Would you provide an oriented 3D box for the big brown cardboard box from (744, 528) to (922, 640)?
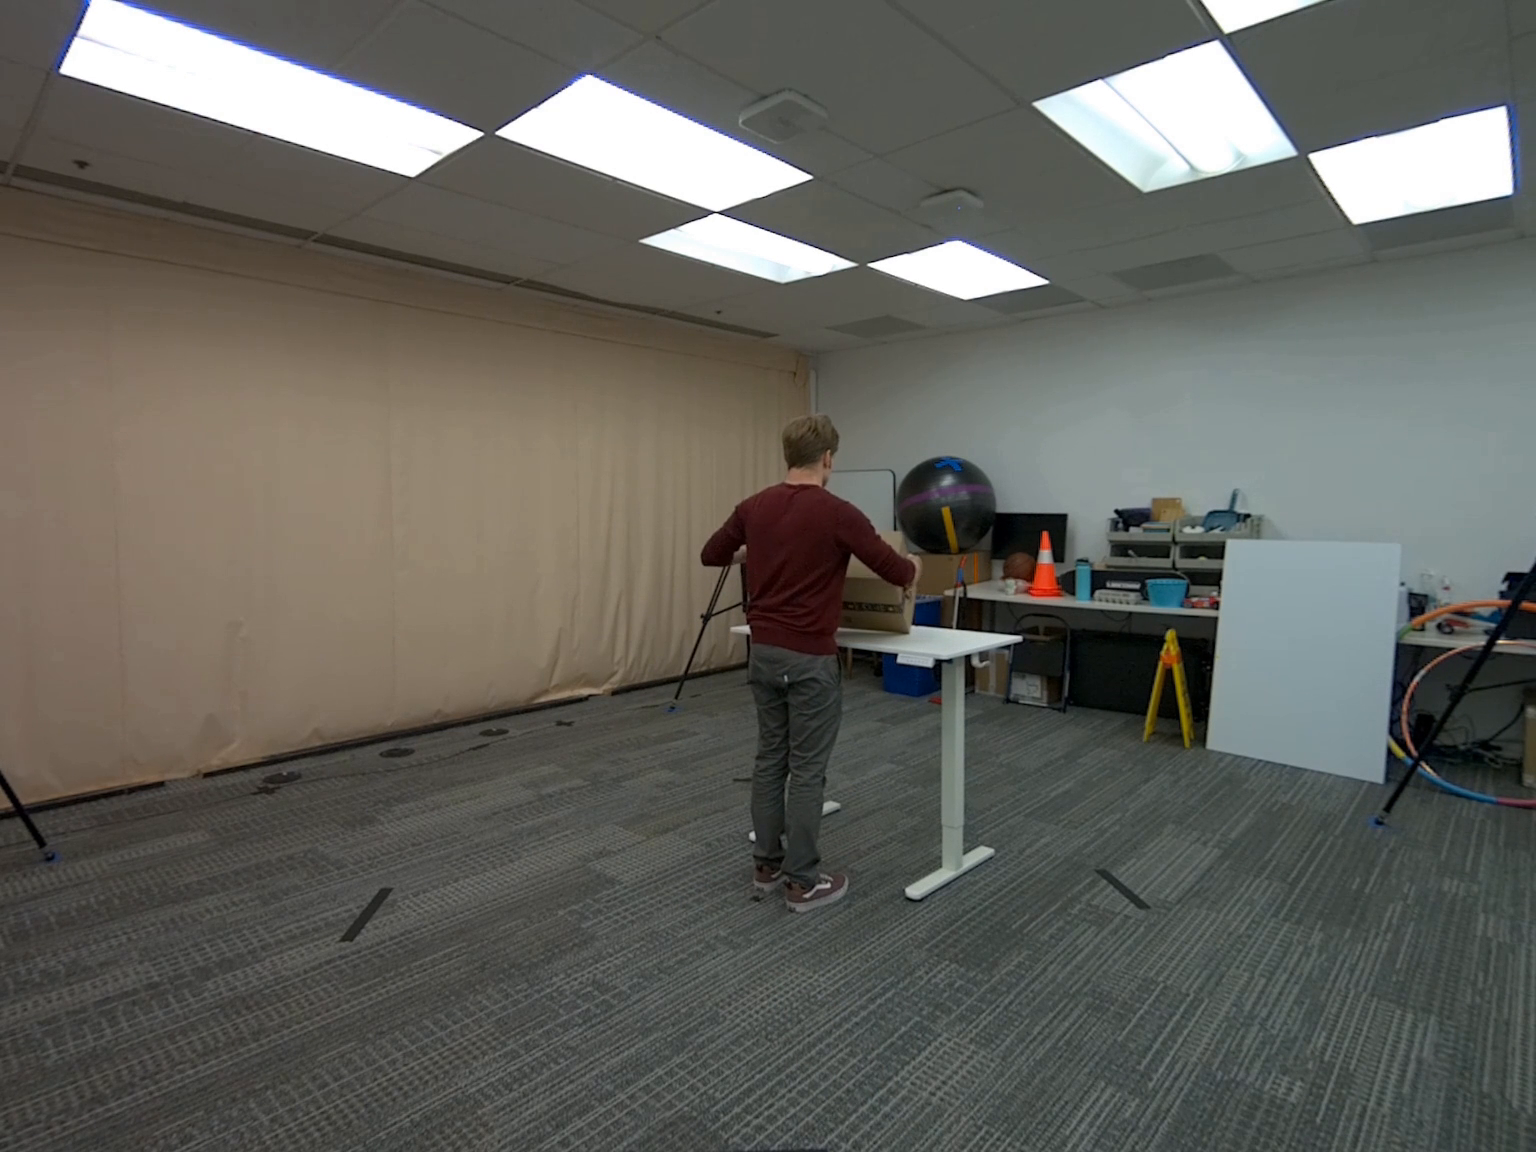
[{"bbox_3d":[0.265,0.017,3.338,0.603,0.235,0.405,5,-31,22],"label":"big brown cardboard box"}]
